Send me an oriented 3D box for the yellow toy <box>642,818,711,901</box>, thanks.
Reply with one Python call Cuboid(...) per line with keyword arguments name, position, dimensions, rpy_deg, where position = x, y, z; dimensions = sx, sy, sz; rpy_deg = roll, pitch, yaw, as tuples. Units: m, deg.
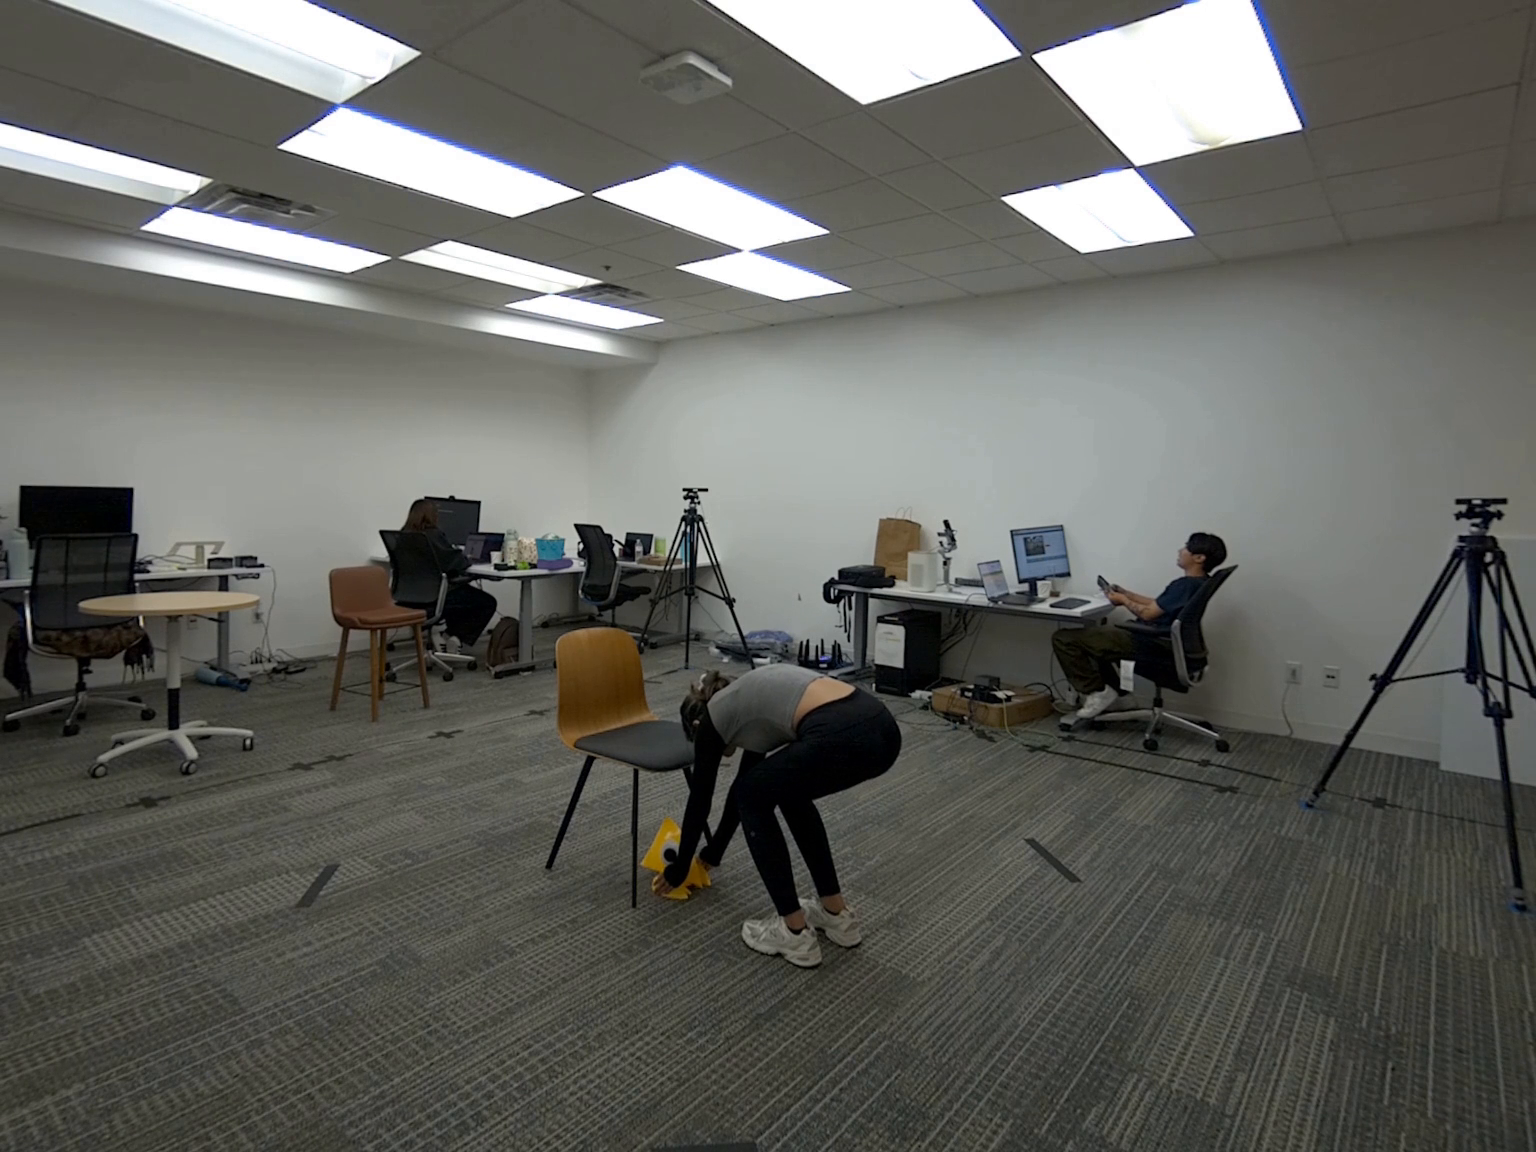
Cuboid(name="yellow toy", position=(-0.315, 0.972, 2.981), dimensions=(0.199, 0.230, 0.199), rpy_deg=(4, 4, 36))
